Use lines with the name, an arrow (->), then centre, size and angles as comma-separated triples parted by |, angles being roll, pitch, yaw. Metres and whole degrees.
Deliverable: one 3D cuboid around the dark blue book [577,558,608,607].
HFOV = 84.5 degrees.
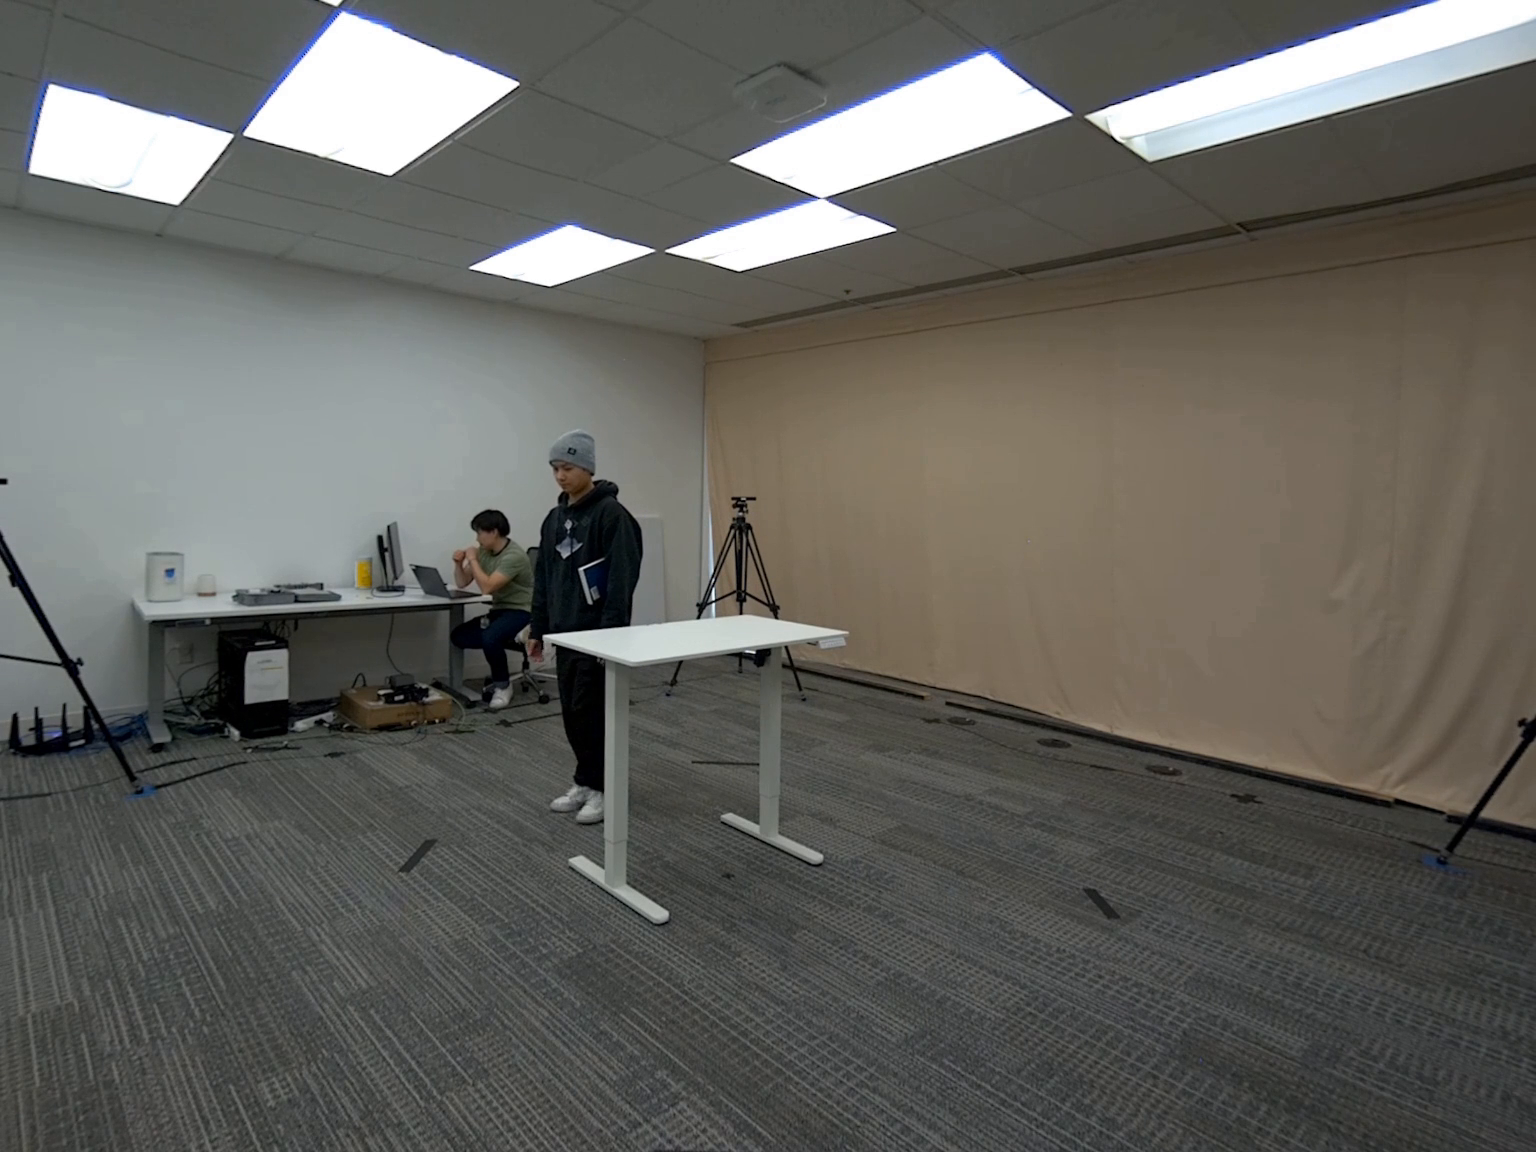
dark blue book -> -0.689, 0.002, 3.579 | 0.046, 0.161, 0.242 | 3, 22, 46
